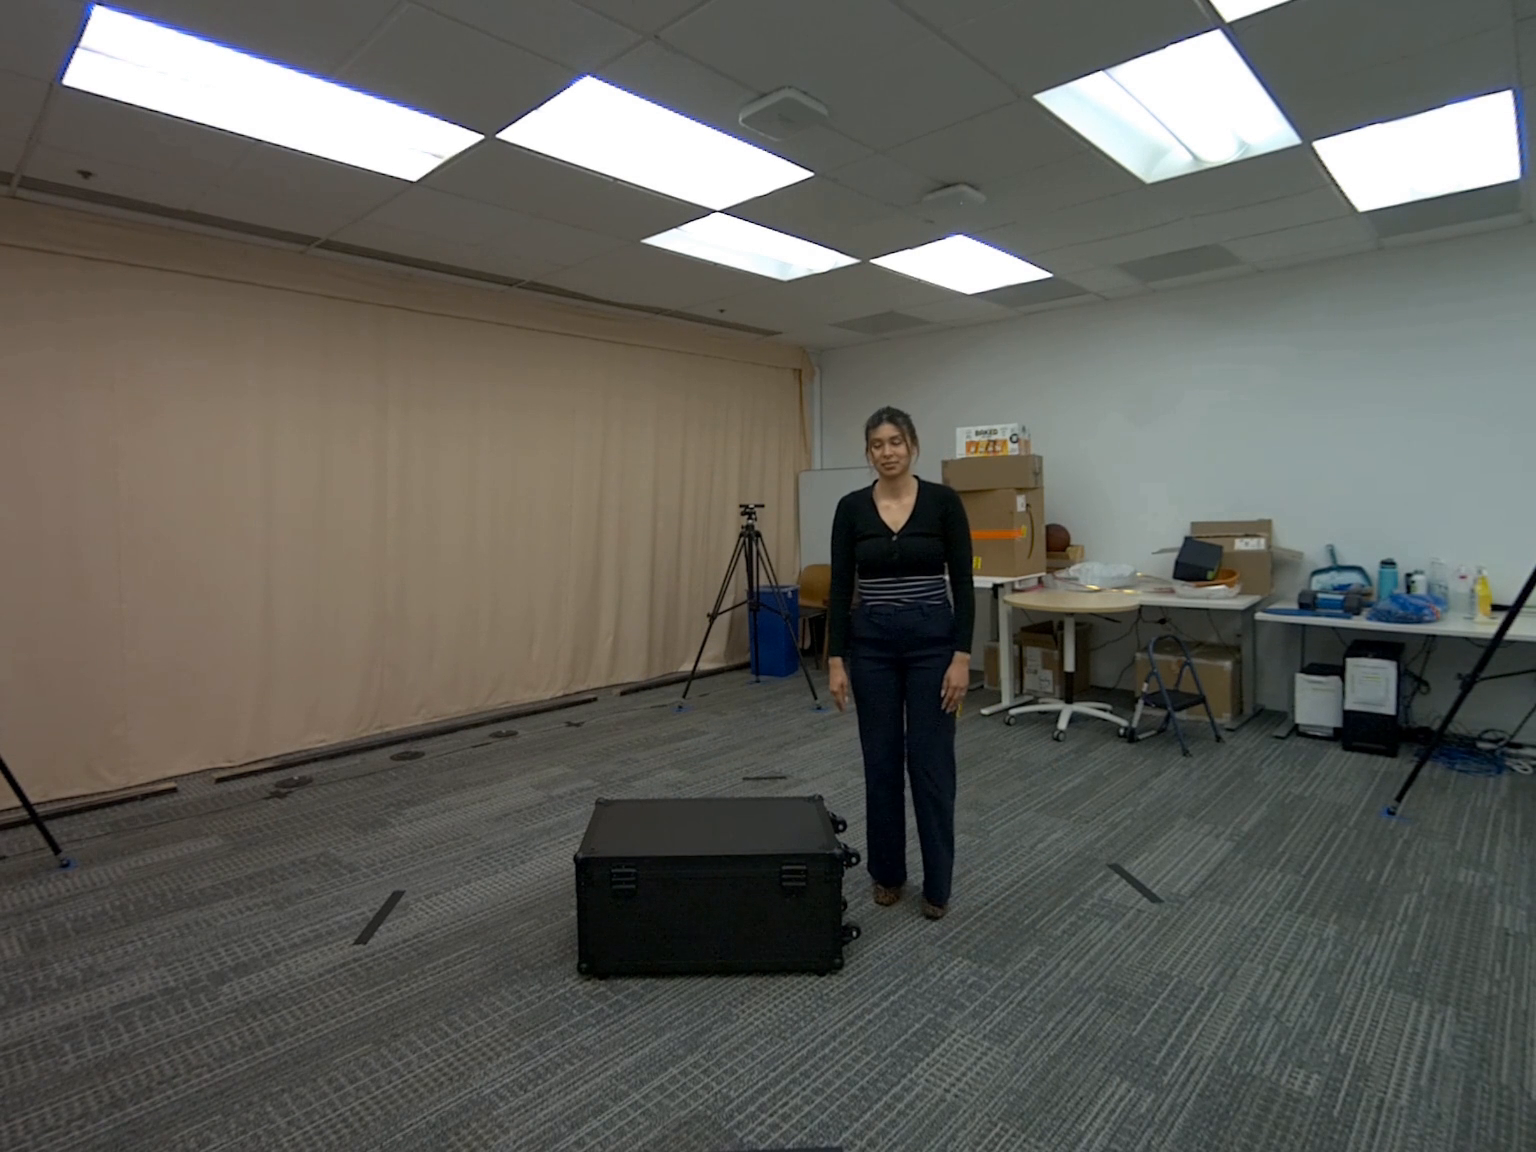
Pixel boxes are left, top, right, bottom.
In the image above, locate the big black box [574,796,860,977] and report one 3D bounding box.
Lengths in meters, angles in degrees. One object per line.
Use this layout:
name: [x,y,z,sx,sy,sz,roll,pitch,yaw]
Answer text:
big black box: [-0.149,0.975,2.692,0.861,0.395,0.523,-1,4,-1]
